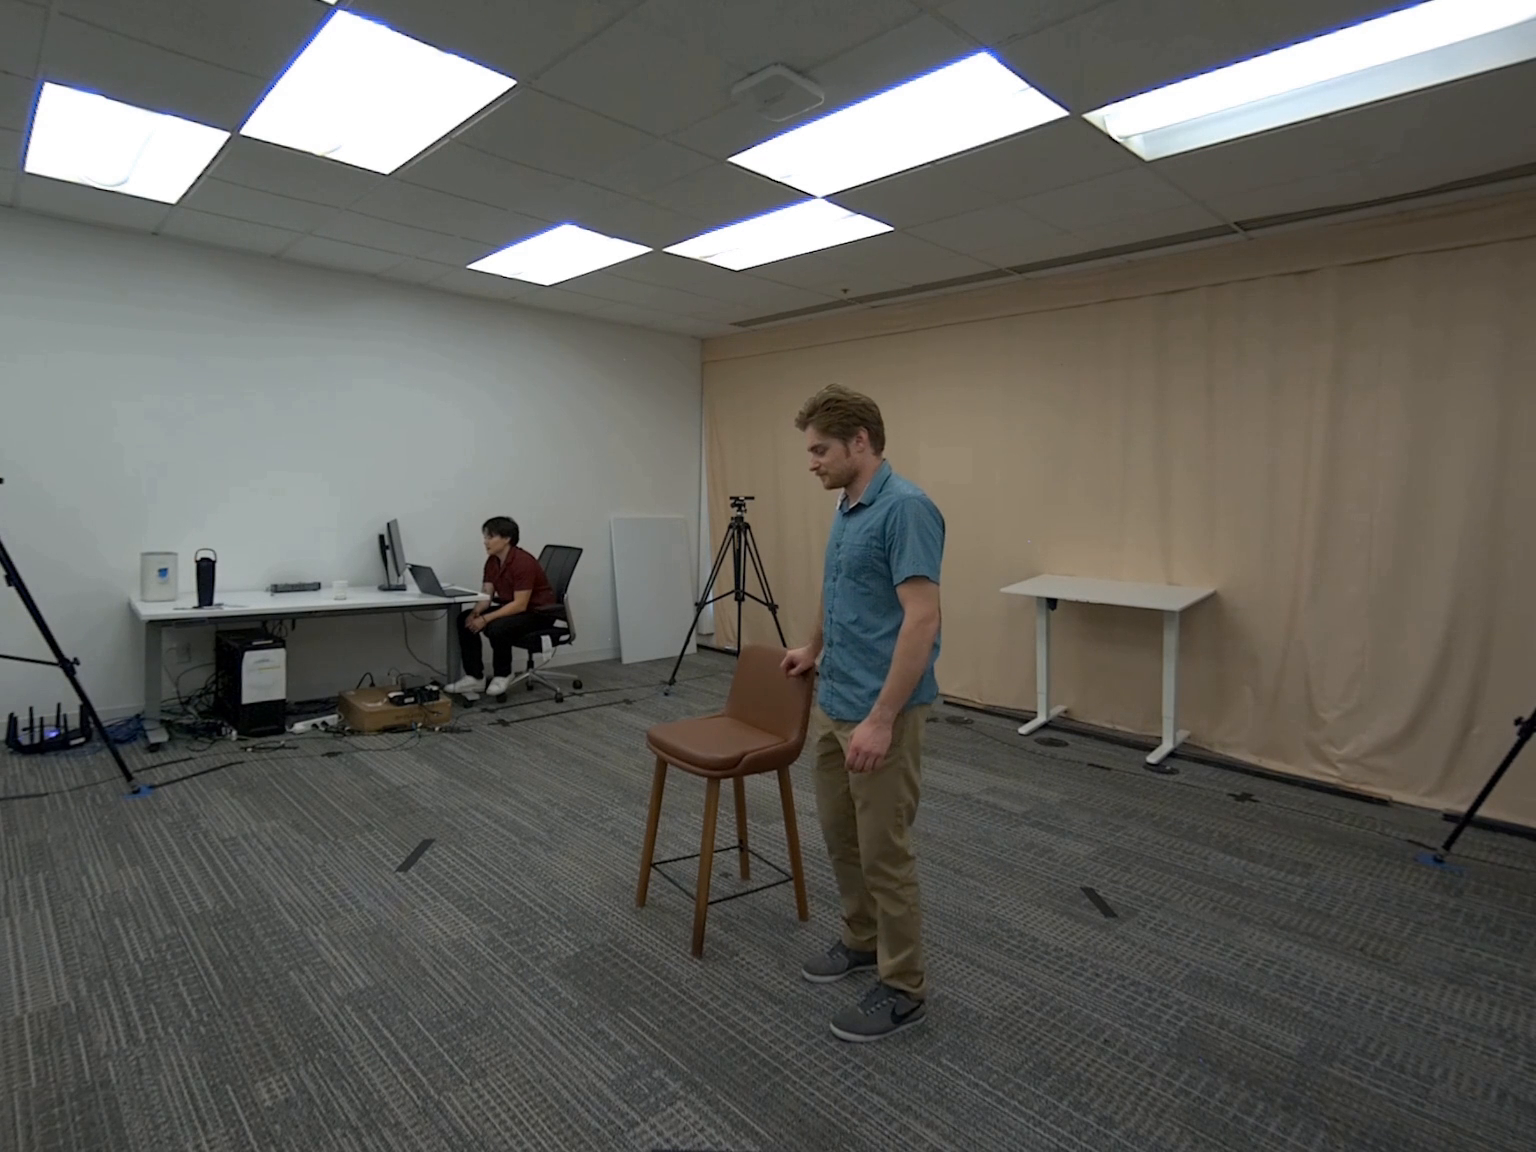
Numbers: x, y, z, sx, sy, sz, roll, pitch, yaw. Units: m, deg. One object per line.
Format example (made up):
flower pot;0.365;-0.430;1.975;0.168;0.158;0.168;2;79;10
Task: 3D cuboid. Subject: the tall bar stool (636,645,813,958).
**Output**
tall bar stool;-0.144;0.699;2.802;0.457;0.888;0.467;1;3;-35
